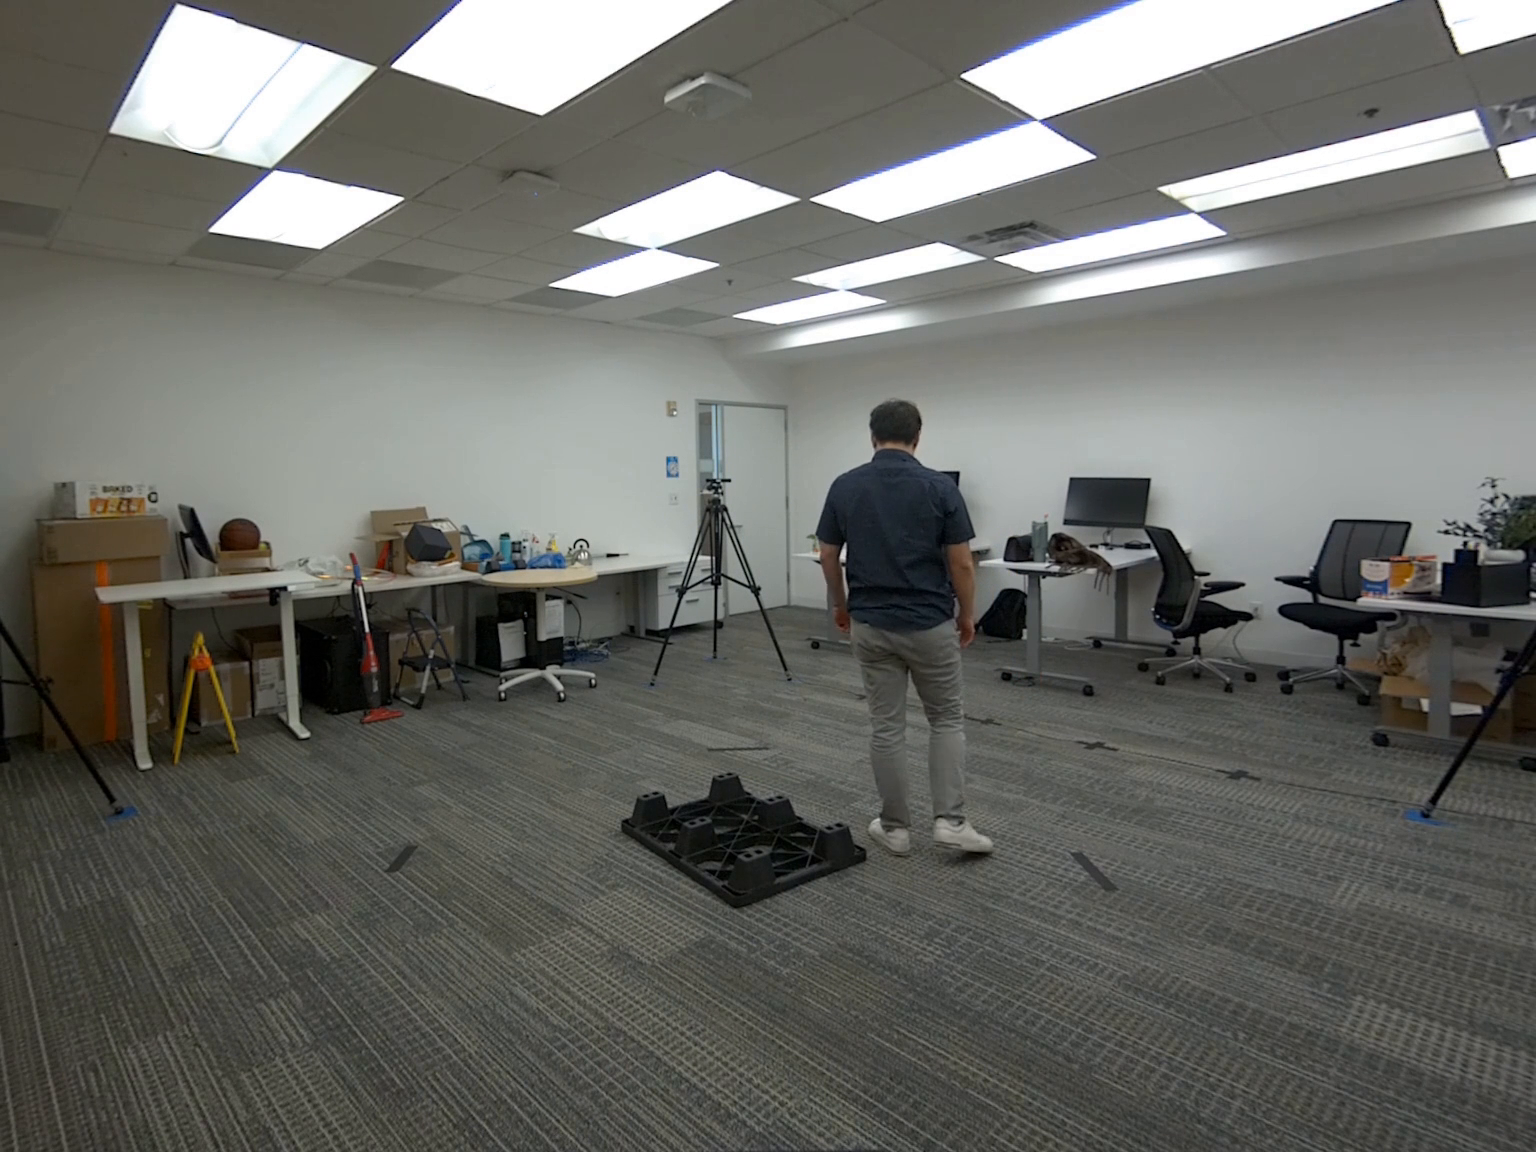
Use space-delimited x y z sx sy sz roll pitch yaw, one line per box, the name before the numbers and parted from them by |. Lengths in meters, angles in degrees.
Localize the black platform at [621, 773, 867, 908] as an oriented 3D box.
black platform | -0.107 0.962 3.264 0.590 0.142 0.830 -7 9 -37
